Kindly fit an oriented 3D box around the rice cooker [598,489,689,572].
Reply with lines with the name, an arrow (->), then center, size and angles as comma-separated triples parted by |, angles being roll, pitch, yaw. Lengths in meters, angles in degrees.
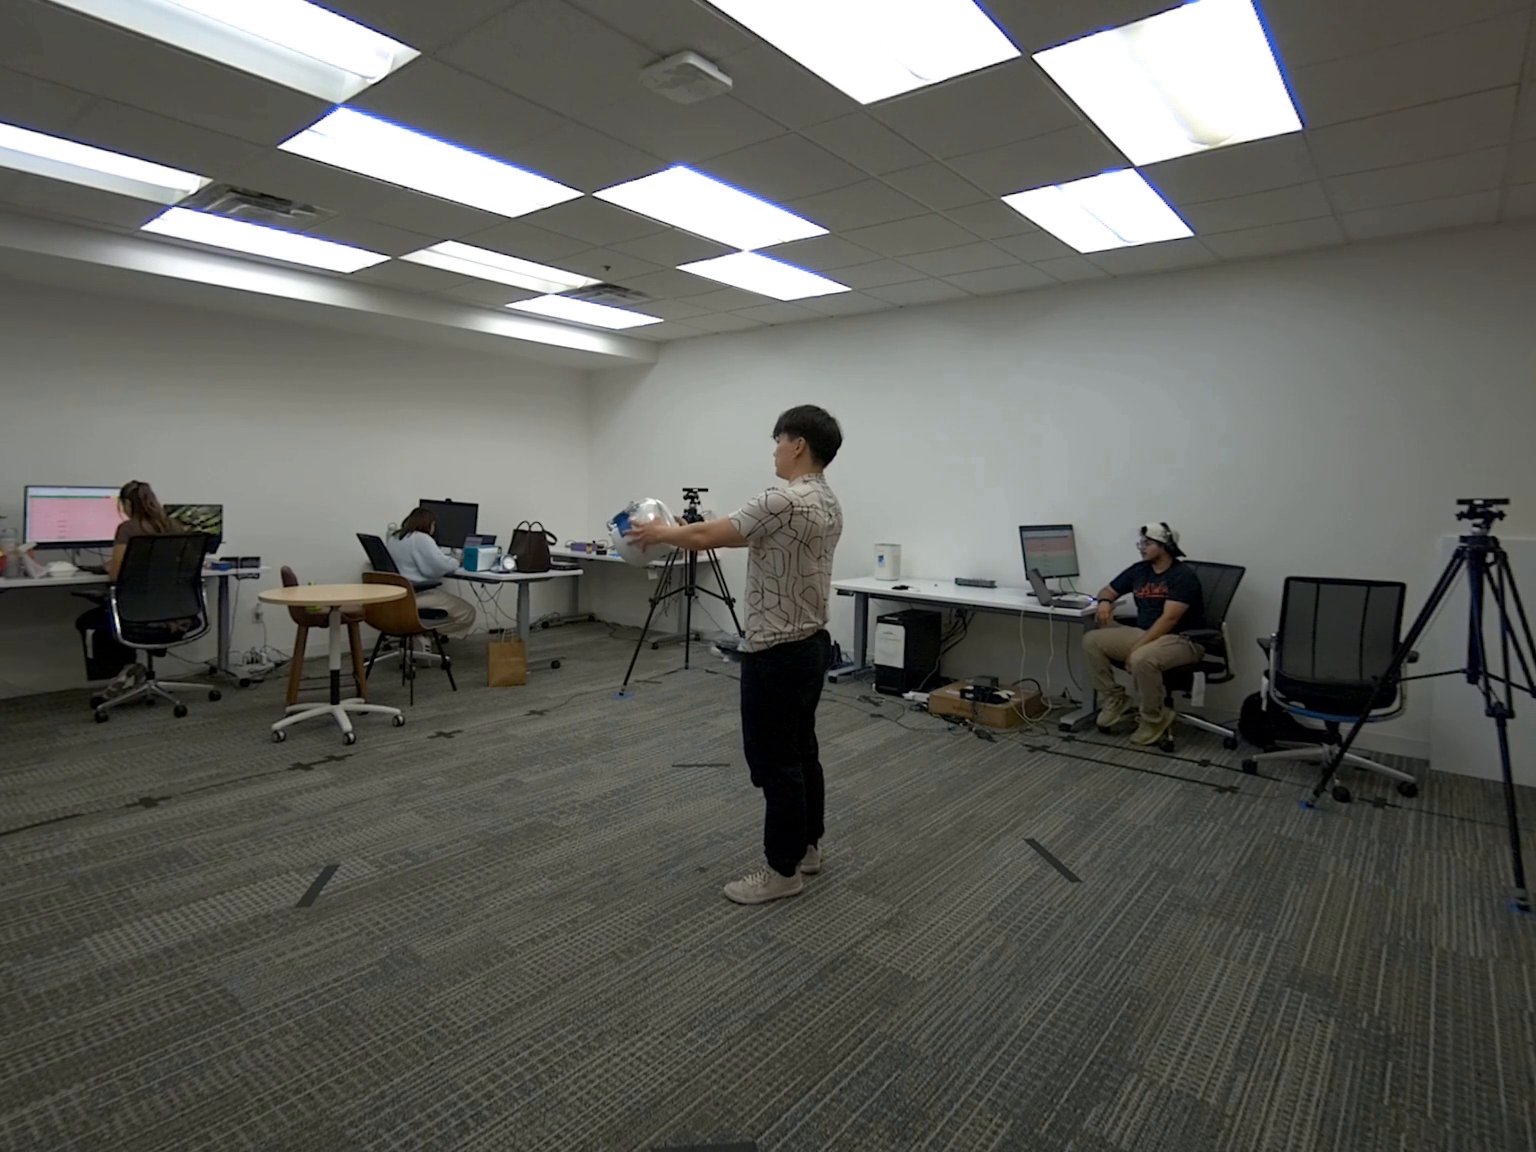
rice cooker -> -0.457, -0.170, 3.191 | 0.235, 0.224, 0.212 | -29, -12, 23
